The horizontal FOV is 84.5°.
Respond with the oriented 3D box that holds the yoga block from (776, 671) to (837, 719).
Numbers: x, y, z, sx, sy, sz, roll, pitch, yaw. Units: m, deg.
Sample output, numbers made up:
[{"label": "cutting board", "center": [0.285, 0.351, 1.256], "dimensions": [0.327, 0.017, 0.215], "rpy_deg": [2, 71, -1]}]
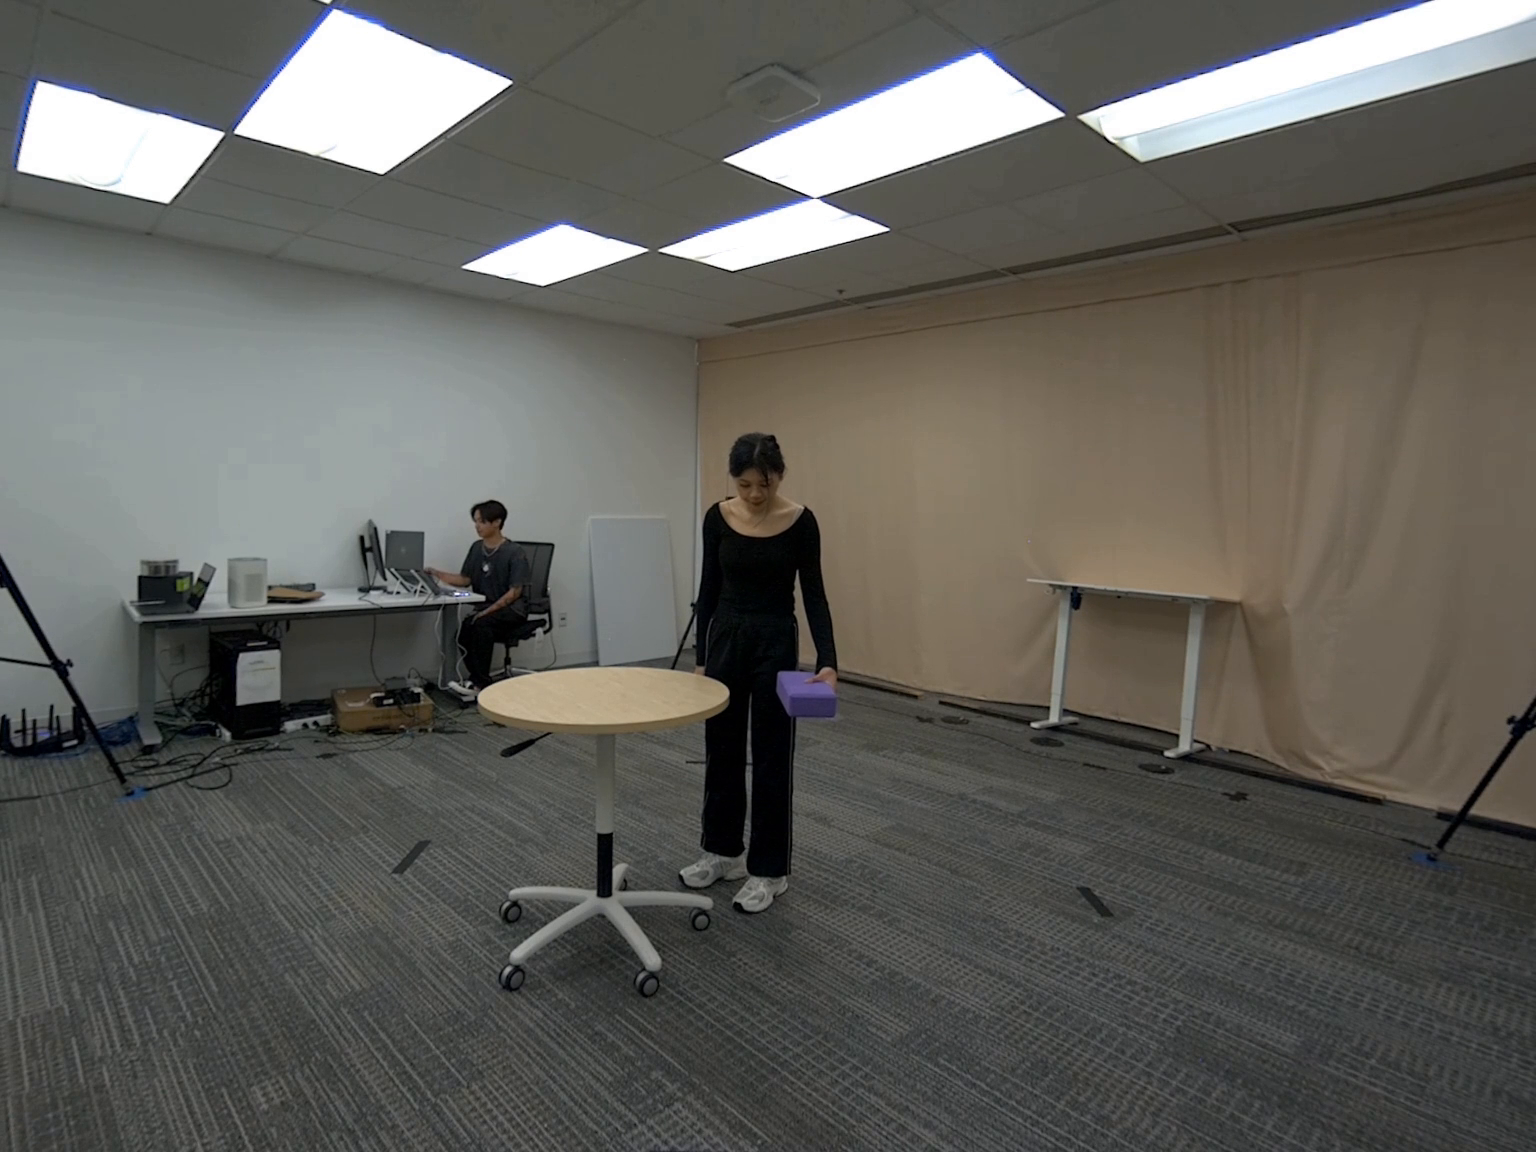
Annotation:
[{"label": "yoga block", "center": [0.107, 0.374, 2.637], "dimensions": [0.148, 0.076, 0.232], "rpy_deg": [2, 10, -9]}]
